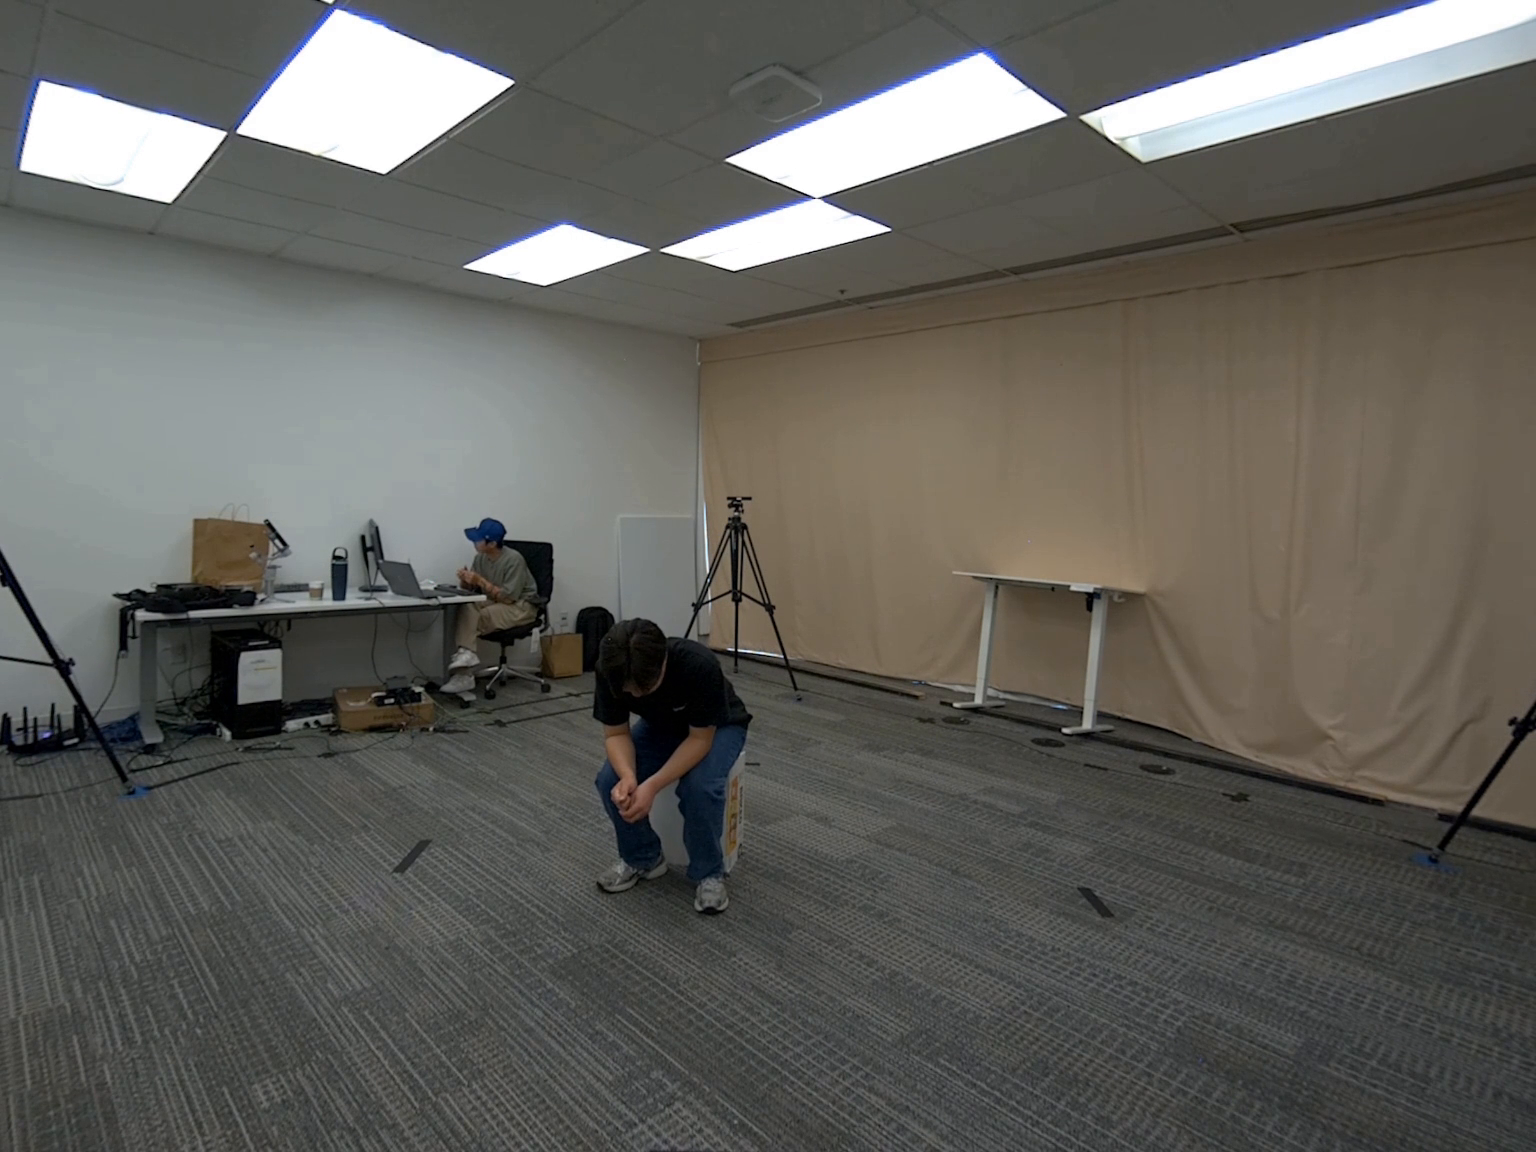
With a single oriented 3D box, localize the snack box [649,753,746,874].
[{"bbox_3d":[-0.282,0.890,3.252,0.345,0.404,0.203,3,4,16],"label":"snack box"}]
